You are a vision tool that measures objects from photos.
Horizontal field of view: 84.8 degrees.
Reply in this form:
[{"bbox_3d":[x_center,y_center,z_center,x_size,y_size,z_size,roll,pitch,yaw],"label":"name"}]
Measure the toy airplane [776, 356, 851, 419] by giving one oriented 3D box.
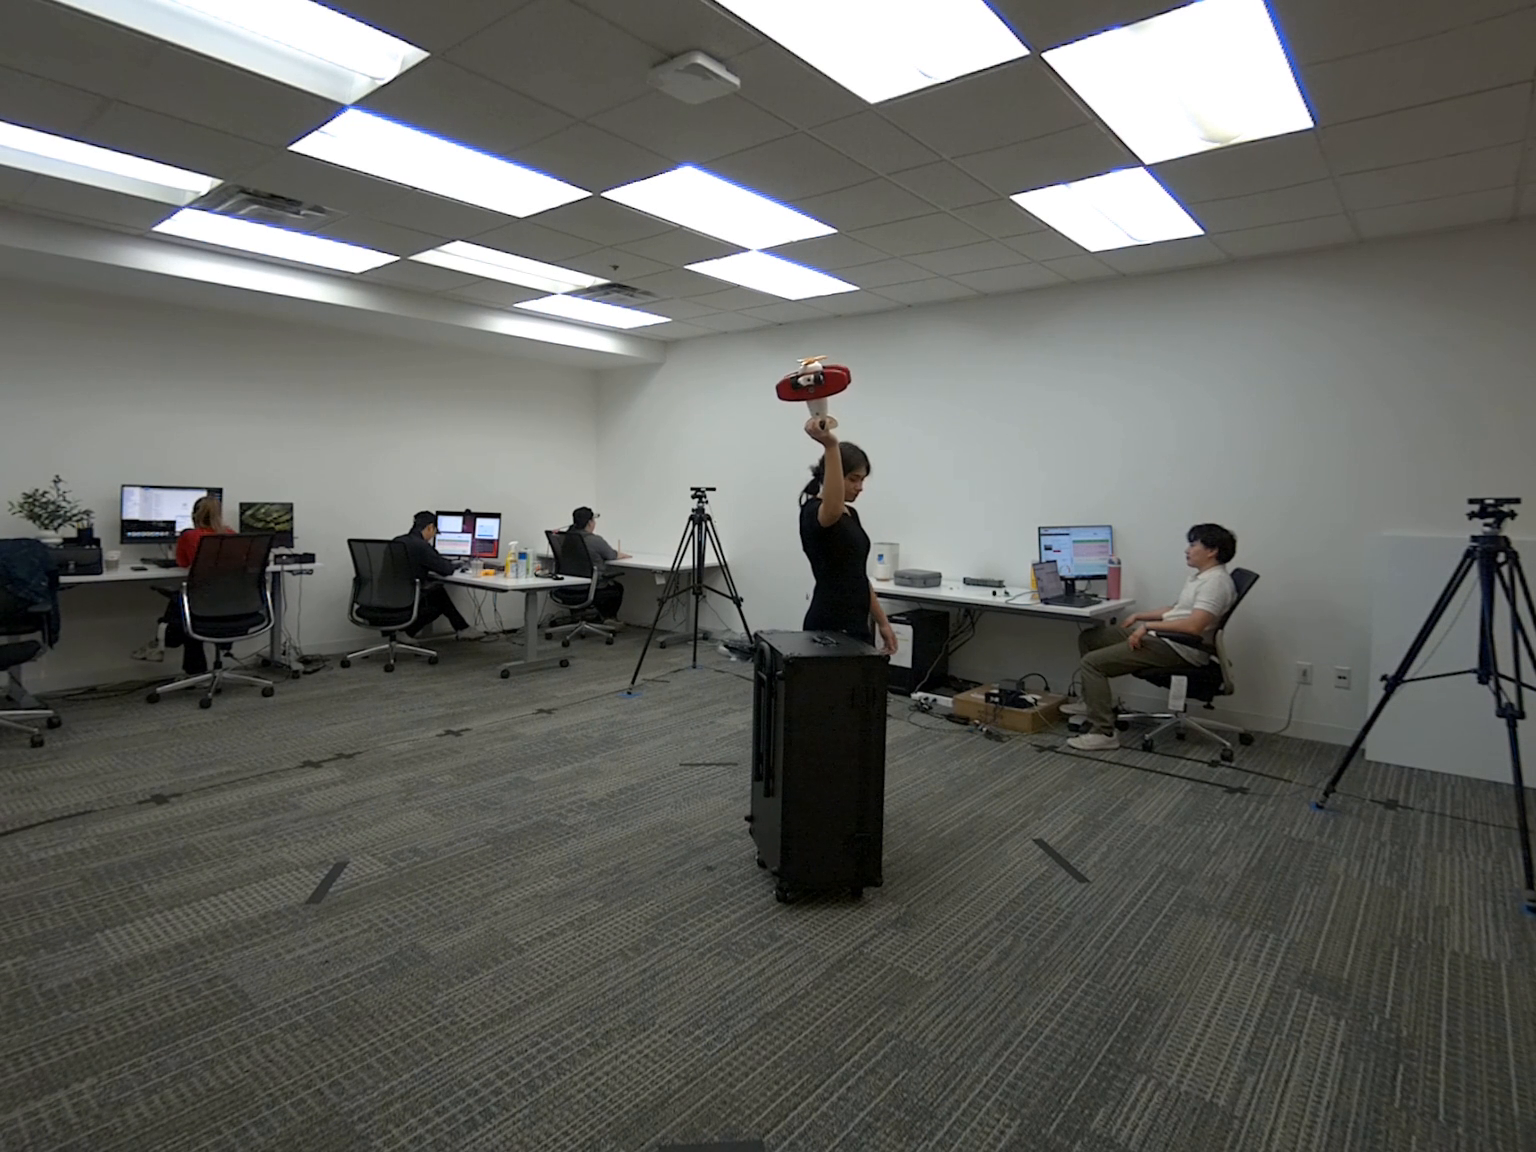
[{"bbox_3d":[0.135,-0.646,3.029,0.253,0.254,0.159,17,40,4],"label":"toy airplane"}]
